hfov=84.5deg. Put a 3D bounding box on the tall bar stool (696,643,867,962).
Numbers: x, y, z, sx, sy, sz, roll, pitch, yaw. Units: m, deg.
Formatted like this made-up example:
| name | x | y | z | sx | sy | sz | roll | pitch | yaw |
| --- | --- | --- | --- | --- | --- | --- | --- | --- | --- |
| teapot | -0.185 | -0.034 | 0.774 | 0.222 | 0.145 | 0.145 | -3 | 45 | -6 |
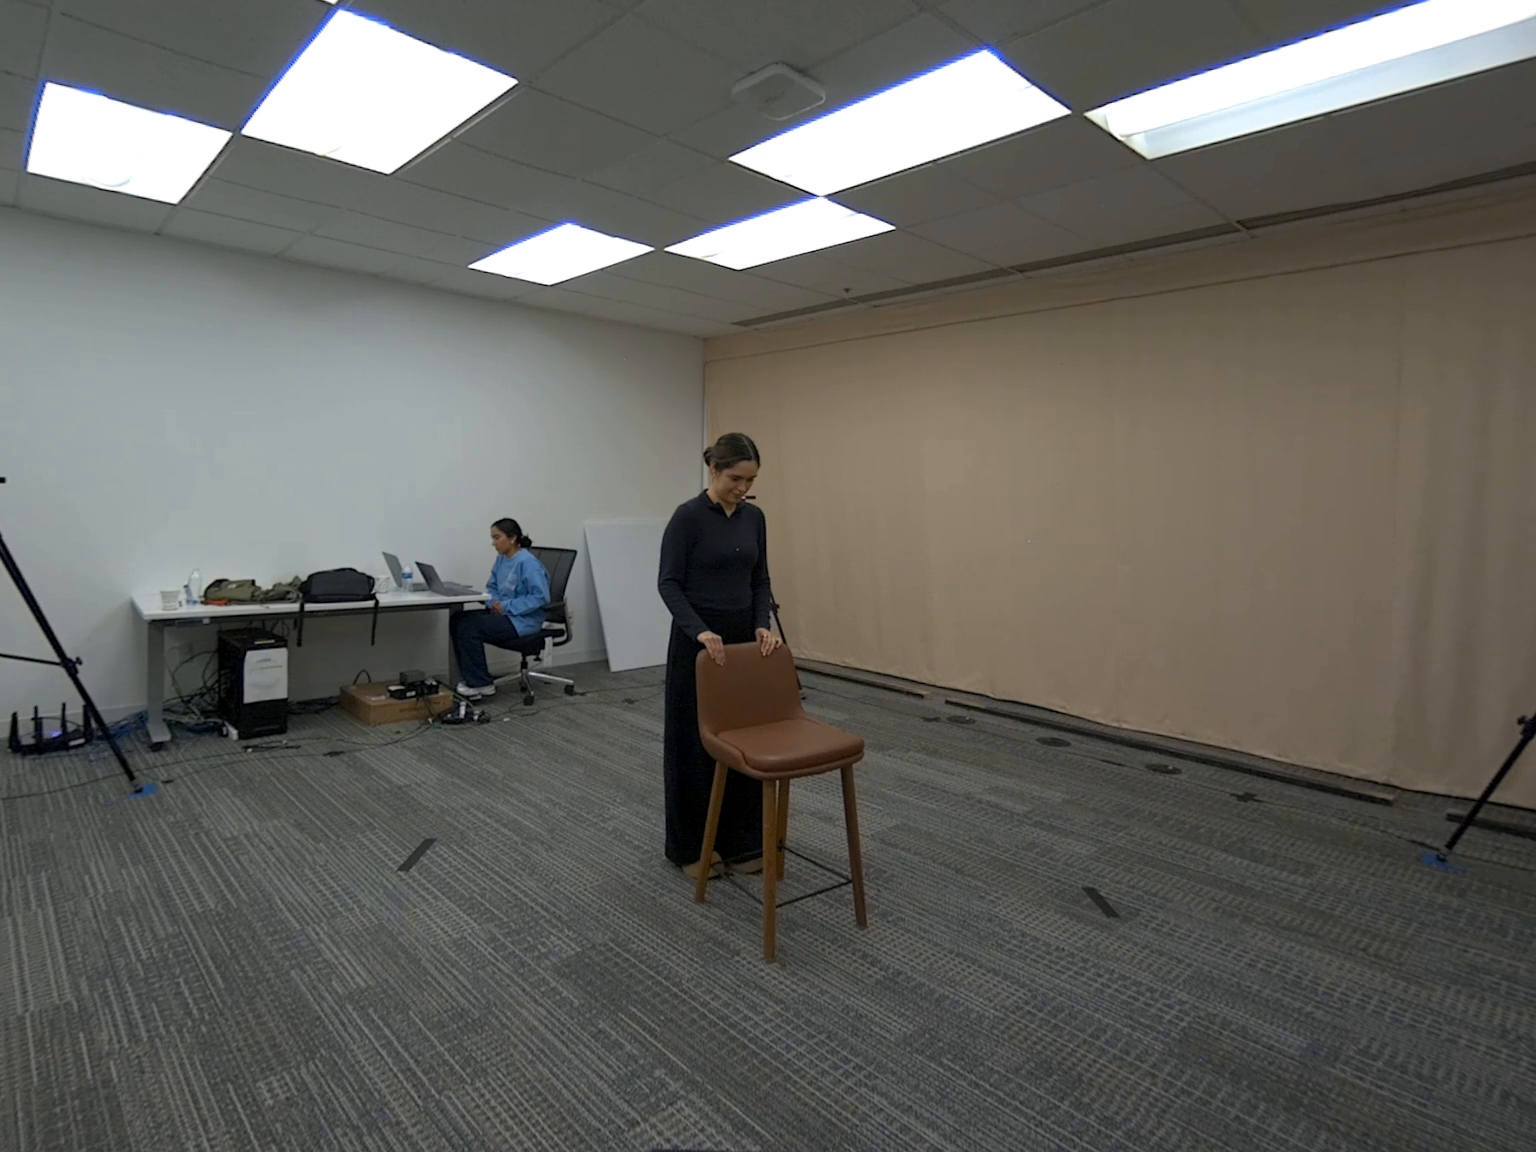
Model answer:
| name | x | y | z | sx | sy | sz | roll | pitch | yaw |
| --- | --- | --- | --- | --- | --- | --- | --- | --- | --- |
| tall bar stool | 0.025 | 0.696 | 2.797 | 0.446 | 0.889 | 0.478 | -1 | 2 | -36 |
